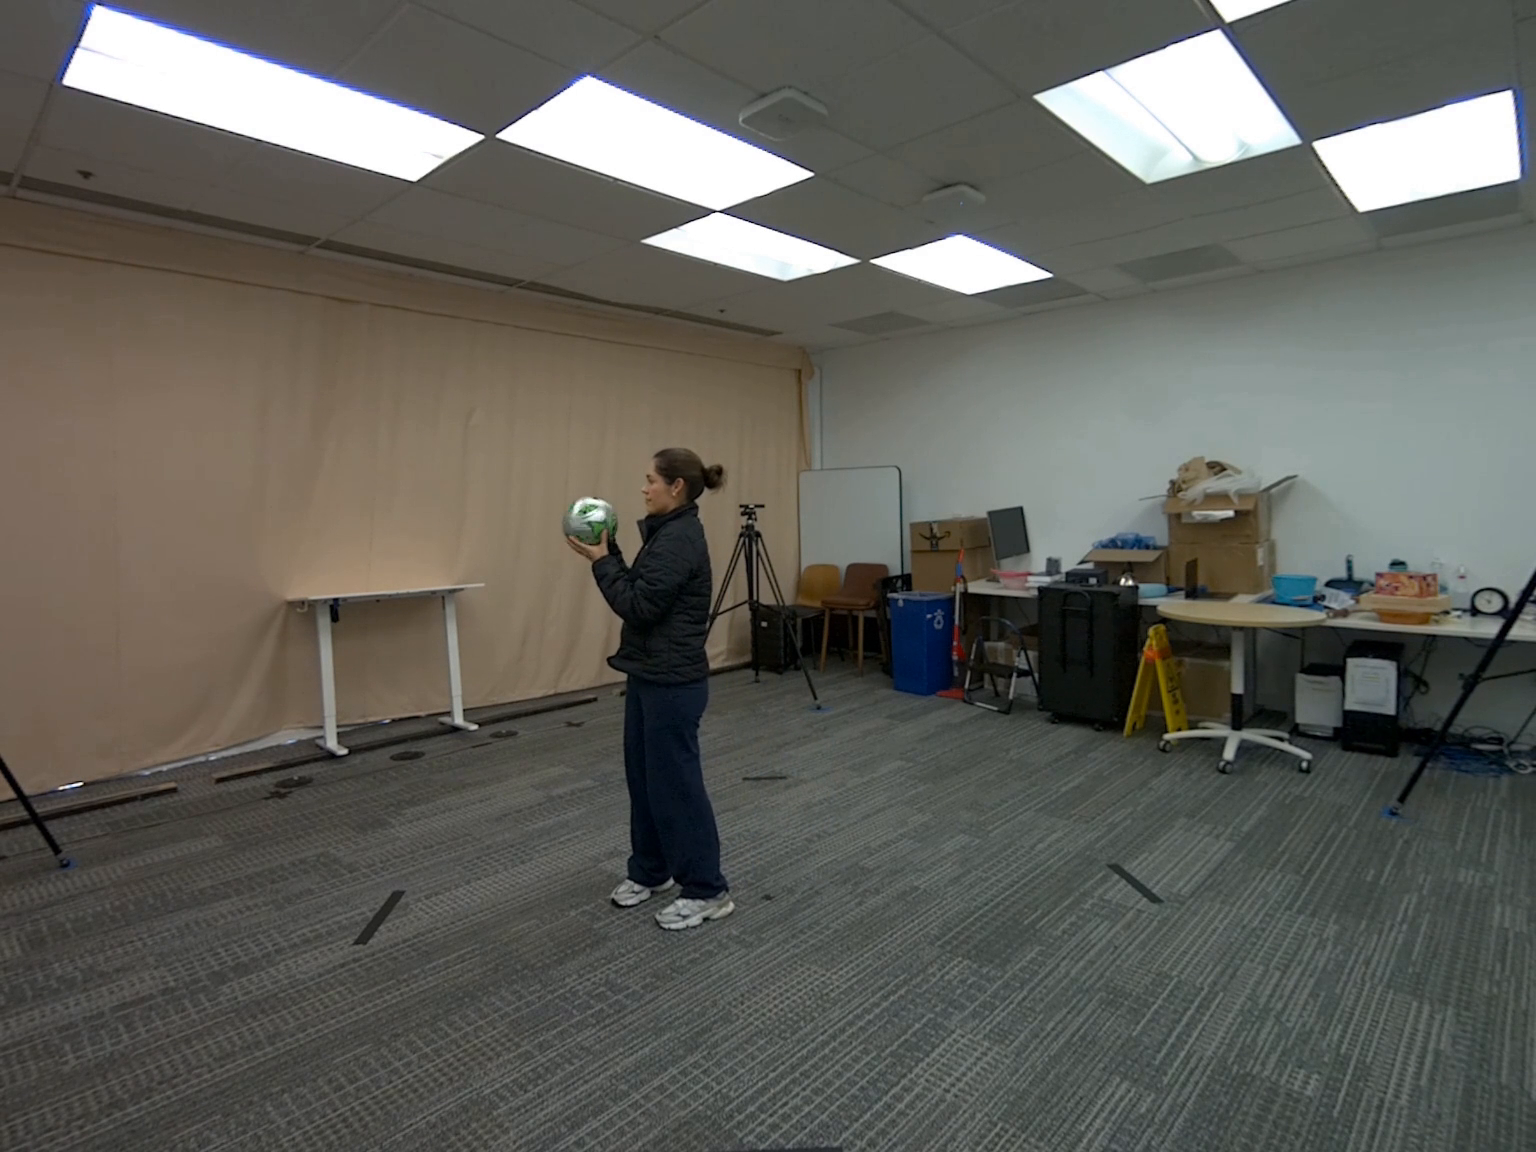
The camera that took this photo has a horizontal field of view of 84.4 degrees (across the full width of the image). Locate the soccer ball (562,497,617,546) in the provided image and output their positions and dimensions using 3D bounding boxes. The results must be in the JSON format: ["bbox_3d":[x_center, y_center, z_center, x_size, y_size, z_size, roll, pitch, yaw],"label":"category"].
[{"bbox_3d":[-0.607,-0.177,2.873,0.187,0.187,0.188,-1,4,-2],"label":"soccer ball"}]
